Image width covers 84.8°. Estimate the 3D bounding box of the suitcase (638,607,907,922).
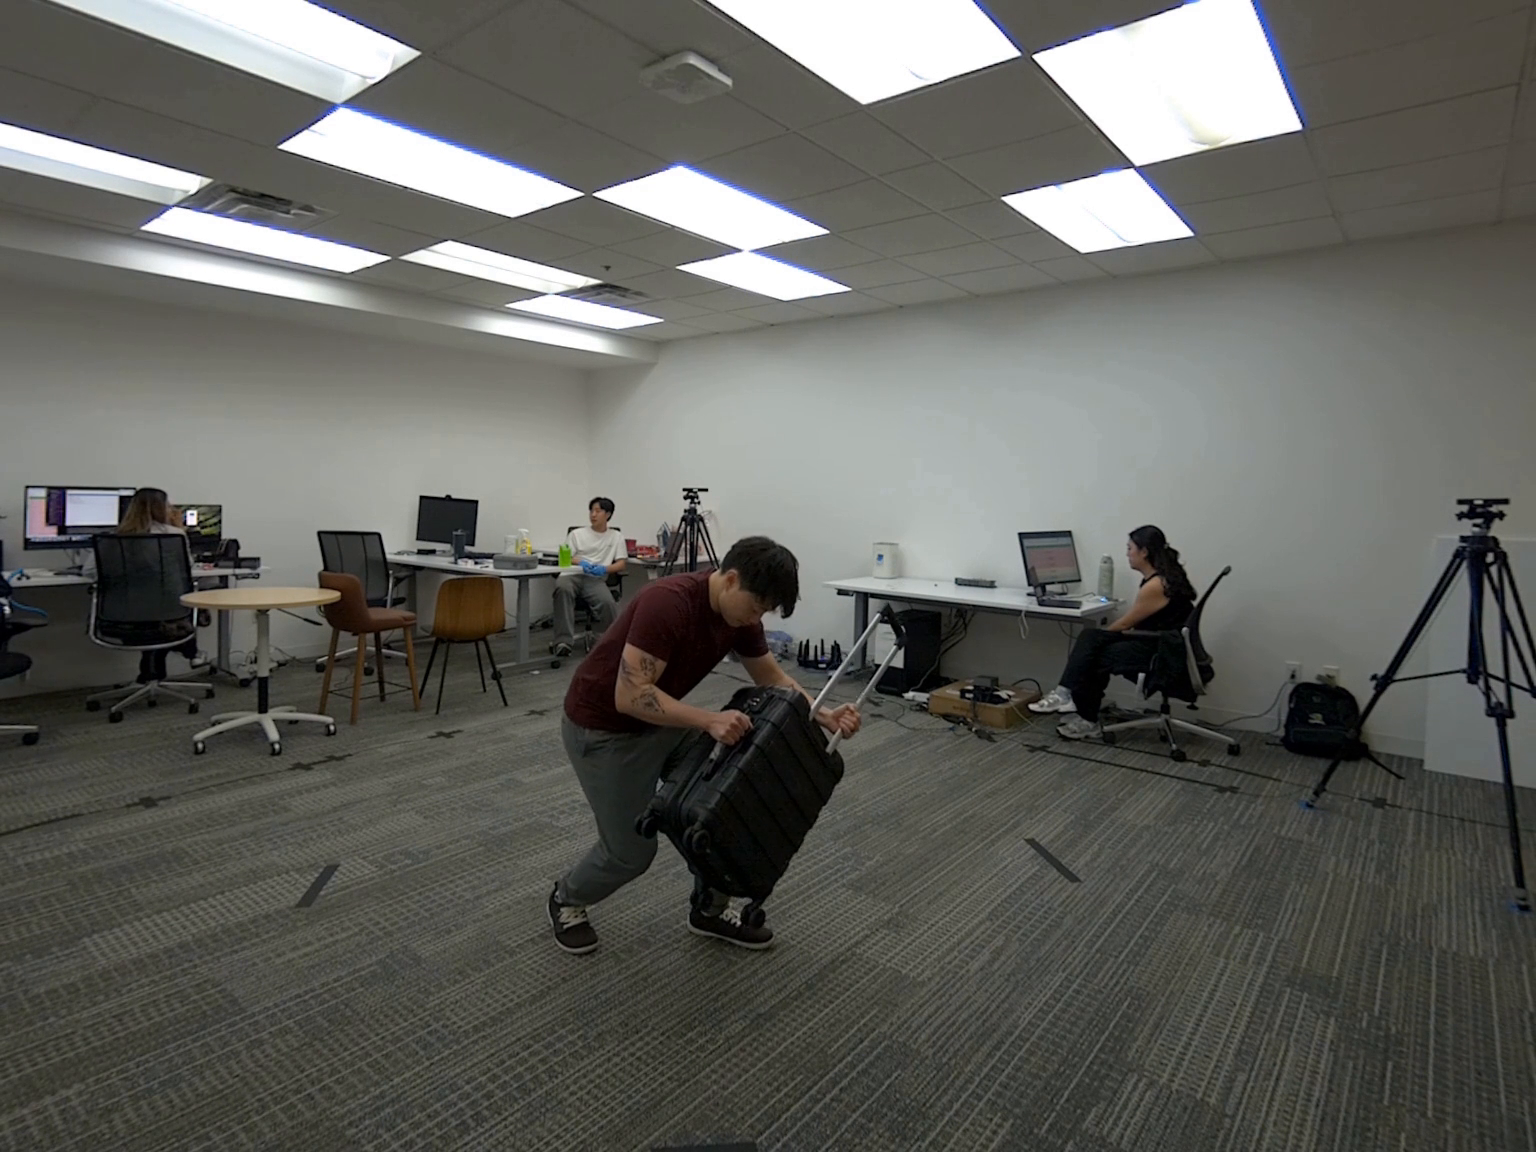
[{"bbox_3d":[0.047,0.451,2.432,0.264,0.373,0.980,-8,34,47],"label":"suitcase"}]
